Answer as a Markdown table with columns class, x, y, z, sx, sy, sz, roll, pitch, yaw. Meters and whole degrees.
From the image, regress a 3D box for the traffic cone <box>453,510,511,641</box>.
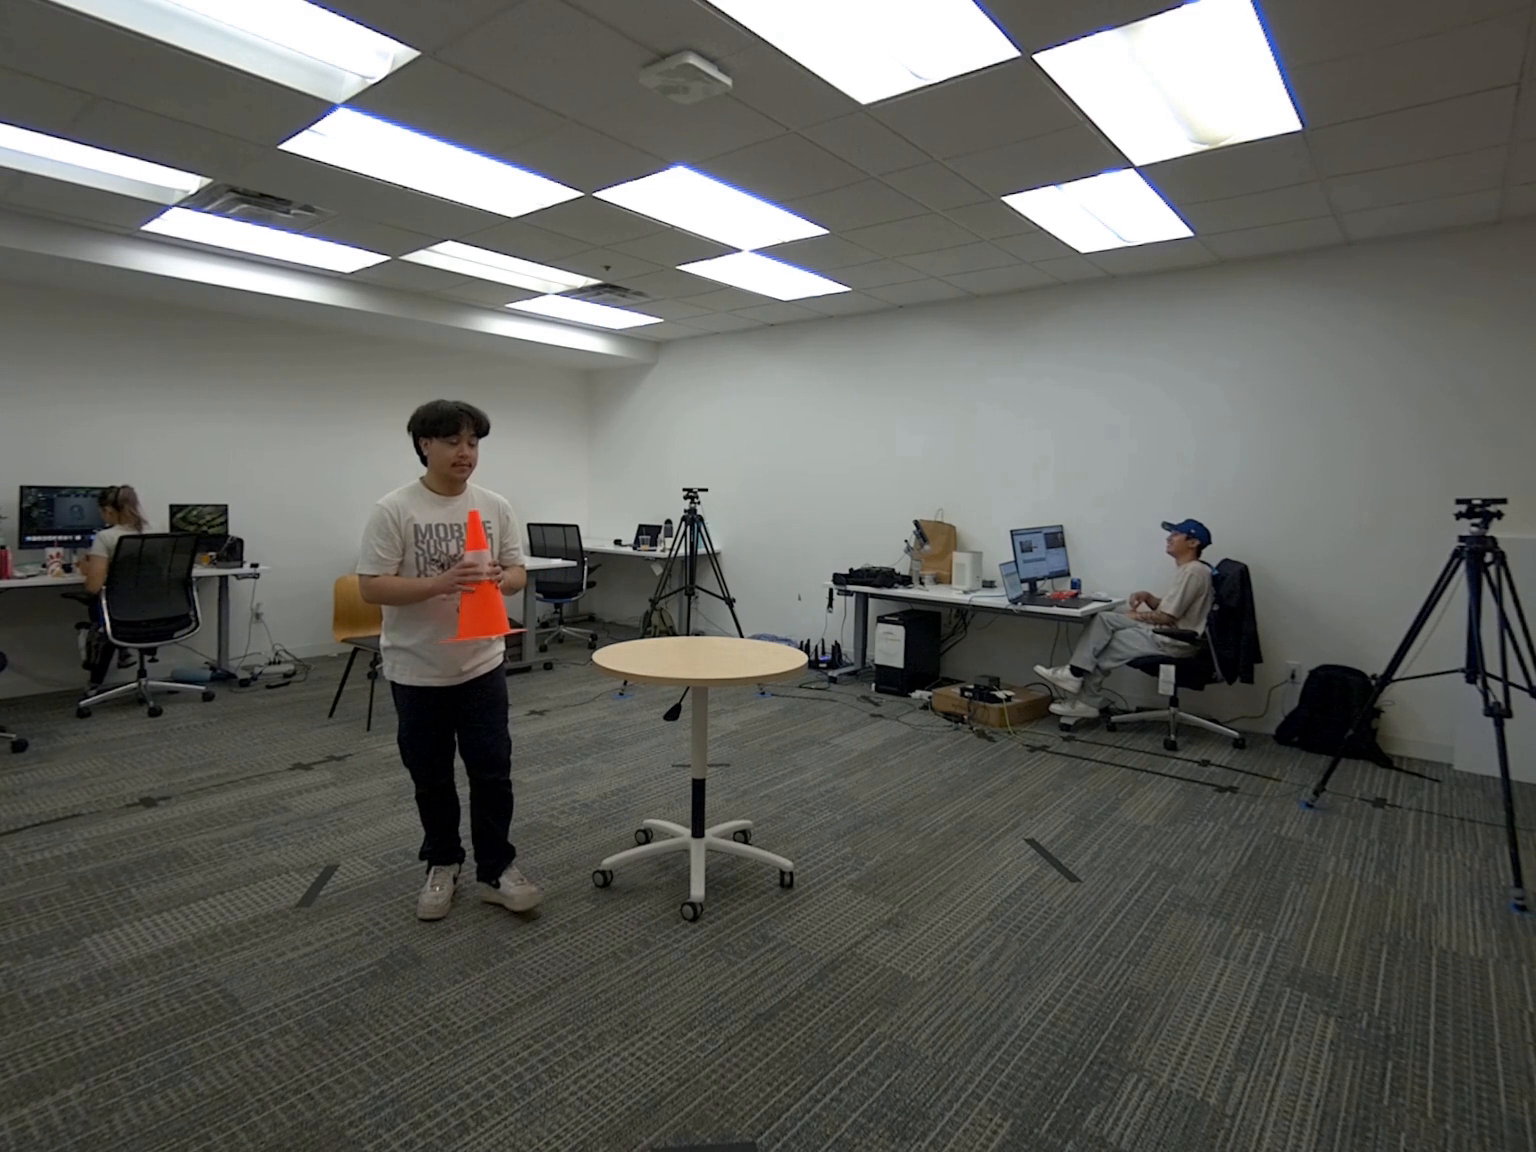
| class | x | y | z | sx | sy | sz | roll | pitch | yaw |
| --- | --- | --- | --- | --- | --- | --- | --- | --- | --- |
| traffic cone | -0.886 | -0.013 | 2.585 | 0.209 | 0.384 | 0.199 | -4 | -1 | 18 |
